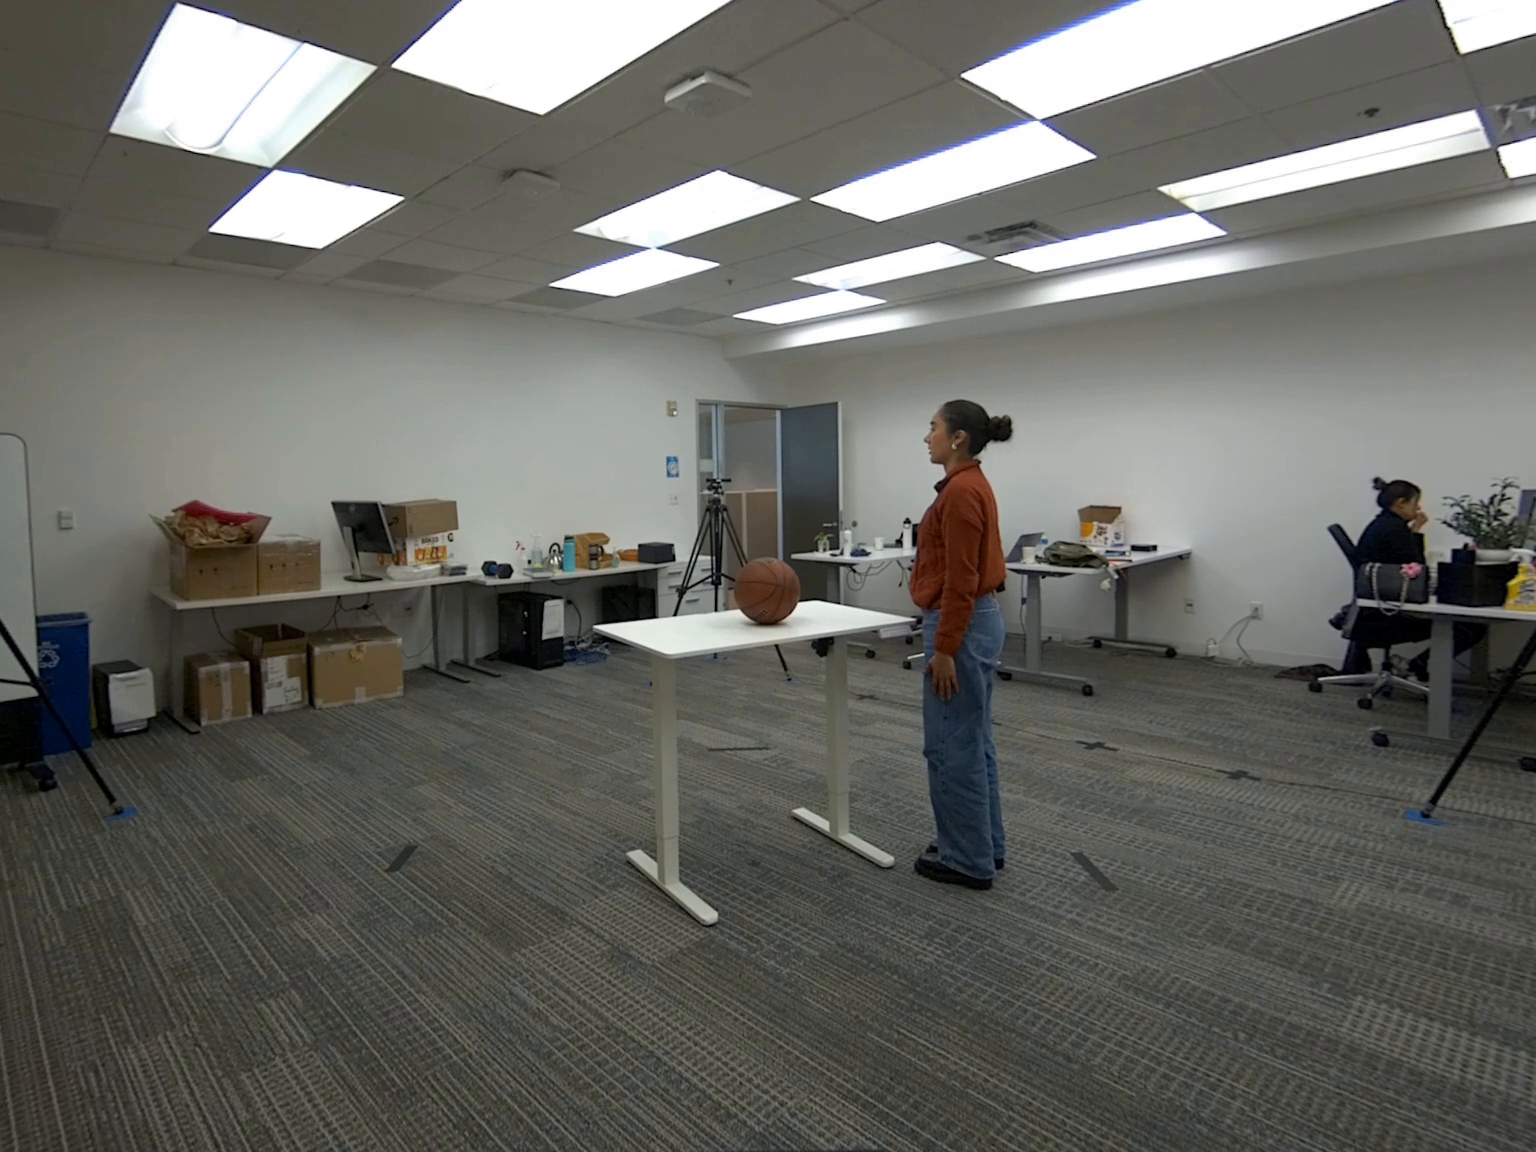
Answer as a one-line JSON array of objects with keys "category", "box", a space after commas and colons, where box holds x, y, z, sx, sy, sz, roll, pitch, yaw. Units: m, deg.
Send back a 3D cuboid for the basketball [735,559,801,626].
[{"category": "basketball", "box": [0.003, 0.053, 3.032, 0.236, 0.235, 0.237, -1, 5, -2]}]
